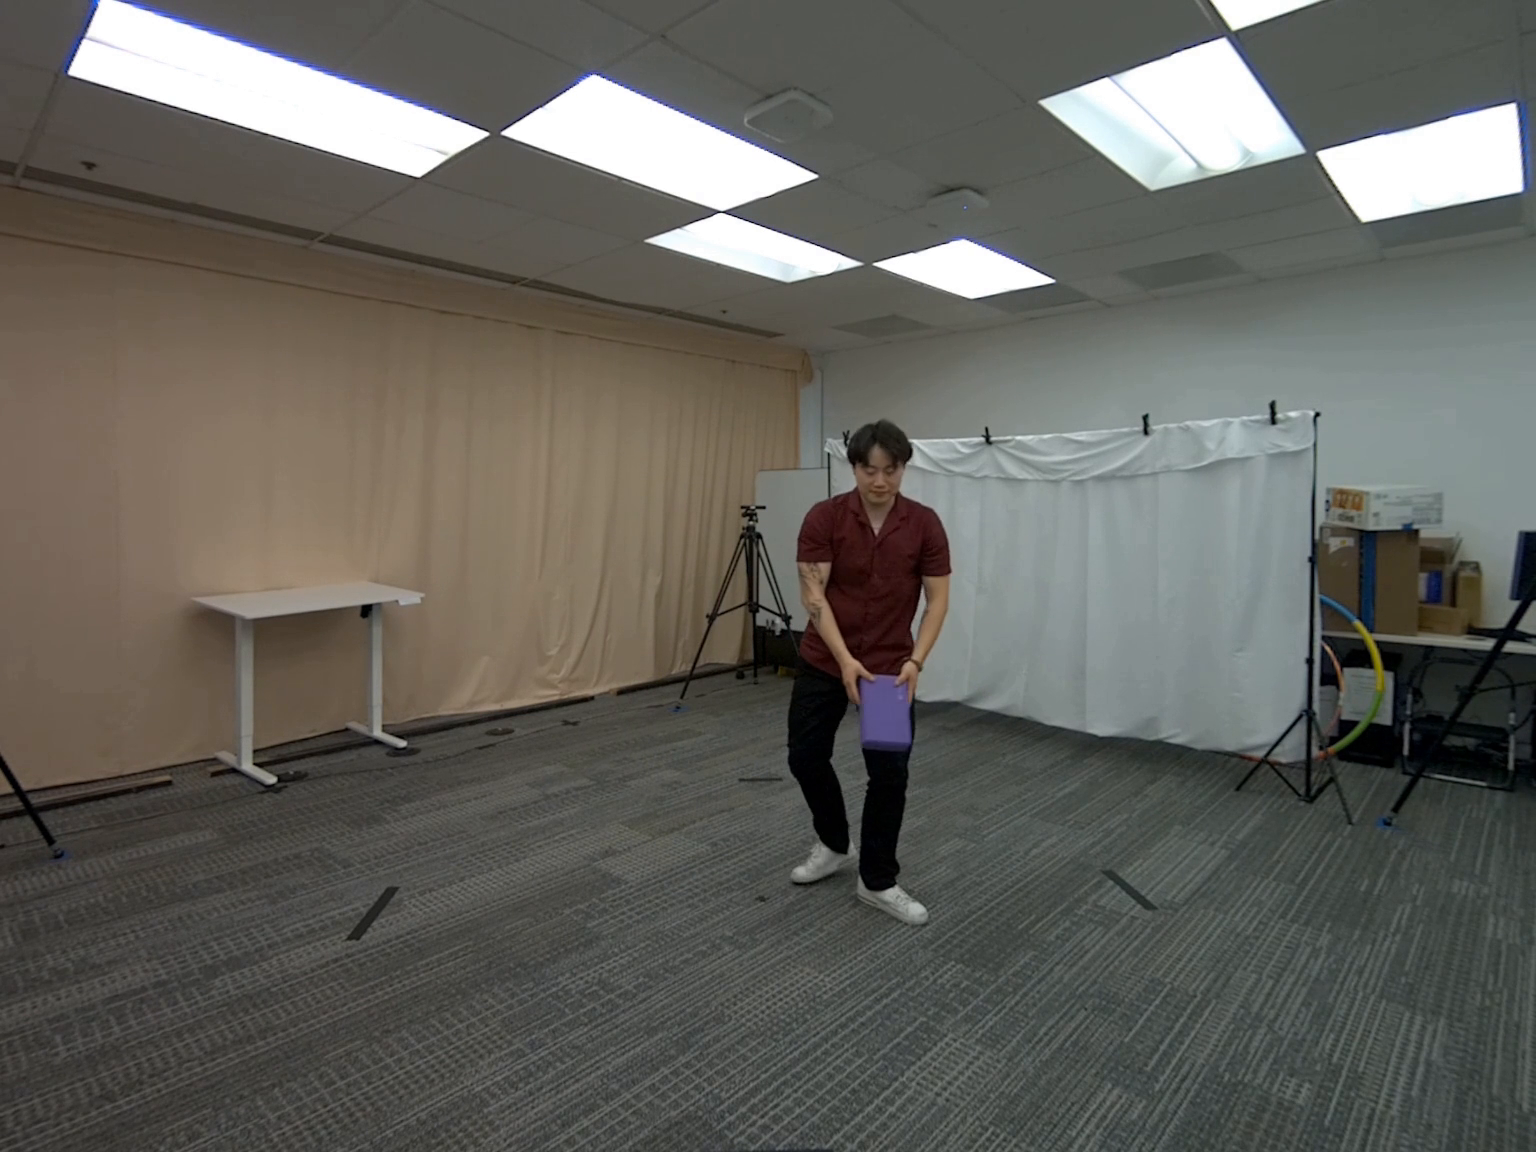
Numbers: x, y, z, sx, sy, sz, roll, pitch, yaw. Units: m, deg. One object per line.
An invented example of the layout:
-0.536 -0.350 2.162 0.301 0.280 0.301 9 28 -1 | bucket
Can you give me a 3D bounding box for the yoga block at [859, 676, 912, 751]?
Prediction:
0.384 0.427 2.693 0.149 0.232 0.075 5 -29 3 | yoga block
